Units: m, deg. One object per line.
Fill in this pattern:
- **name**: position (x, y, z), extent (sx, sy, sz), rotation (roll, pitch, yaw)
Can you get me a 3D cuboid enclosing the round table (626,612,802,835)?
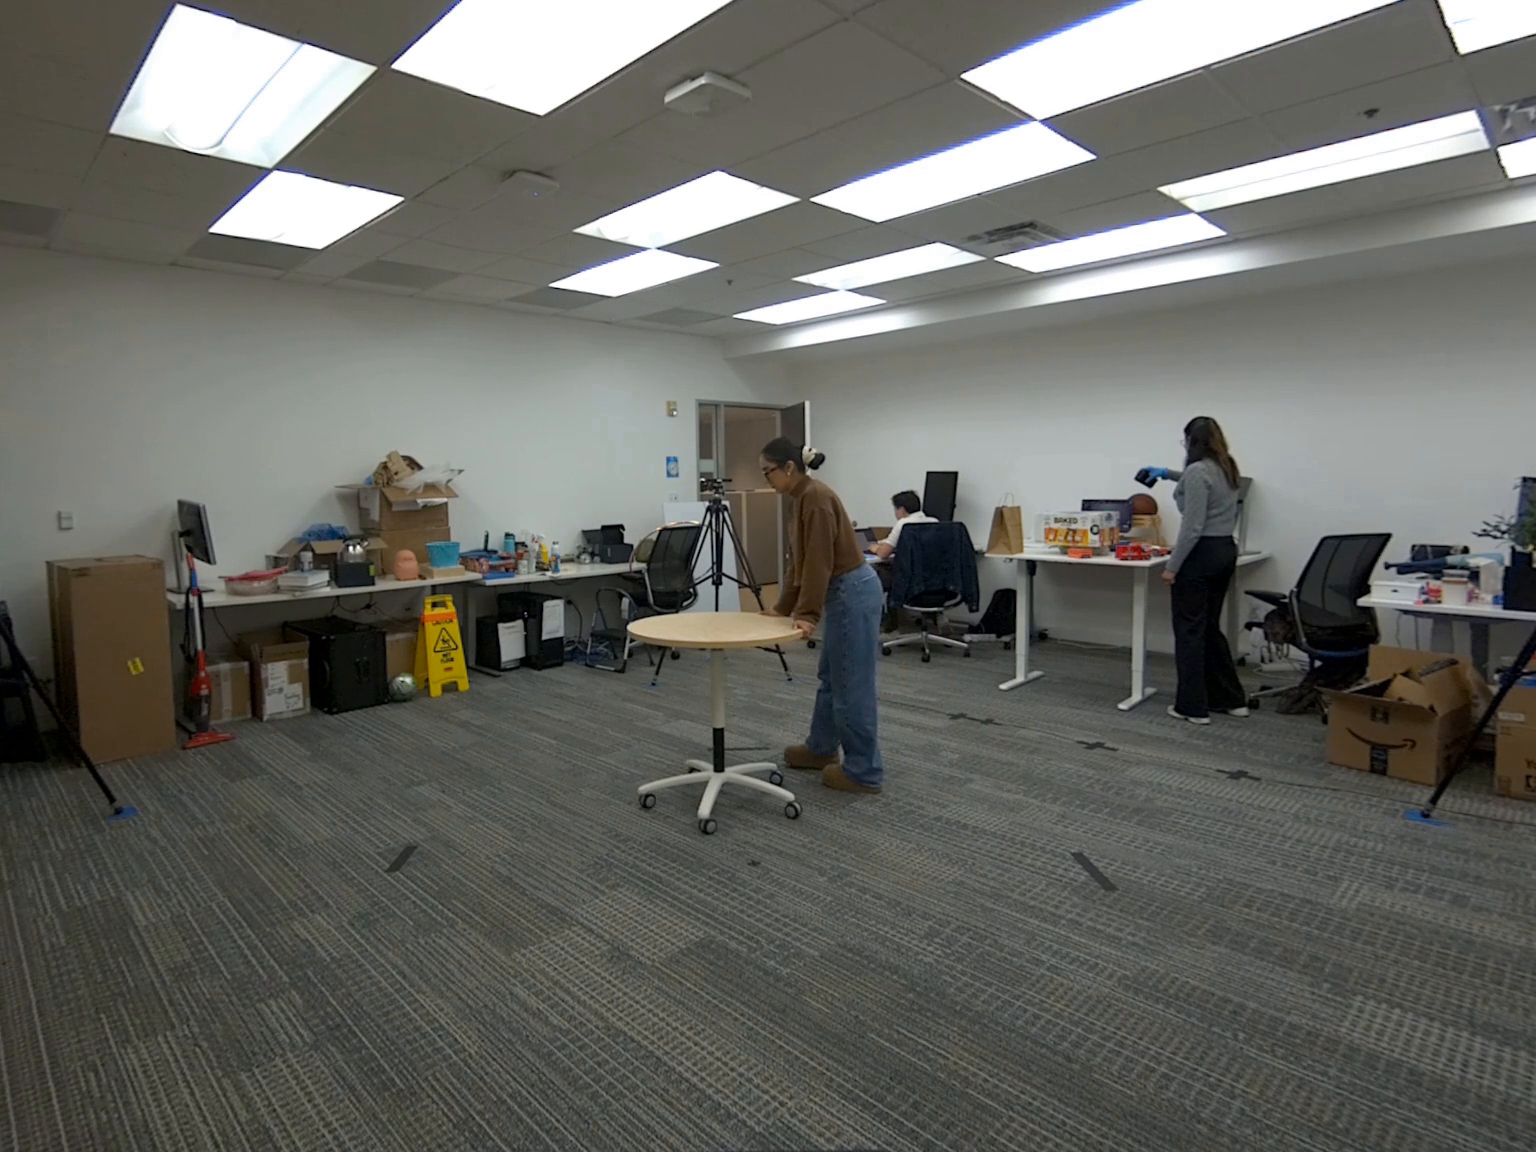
- **round table**: position (-0.205, 0.600, 3.673), extent (0.763, 0.791, 0.768), rotation (-1, 4, -2)
